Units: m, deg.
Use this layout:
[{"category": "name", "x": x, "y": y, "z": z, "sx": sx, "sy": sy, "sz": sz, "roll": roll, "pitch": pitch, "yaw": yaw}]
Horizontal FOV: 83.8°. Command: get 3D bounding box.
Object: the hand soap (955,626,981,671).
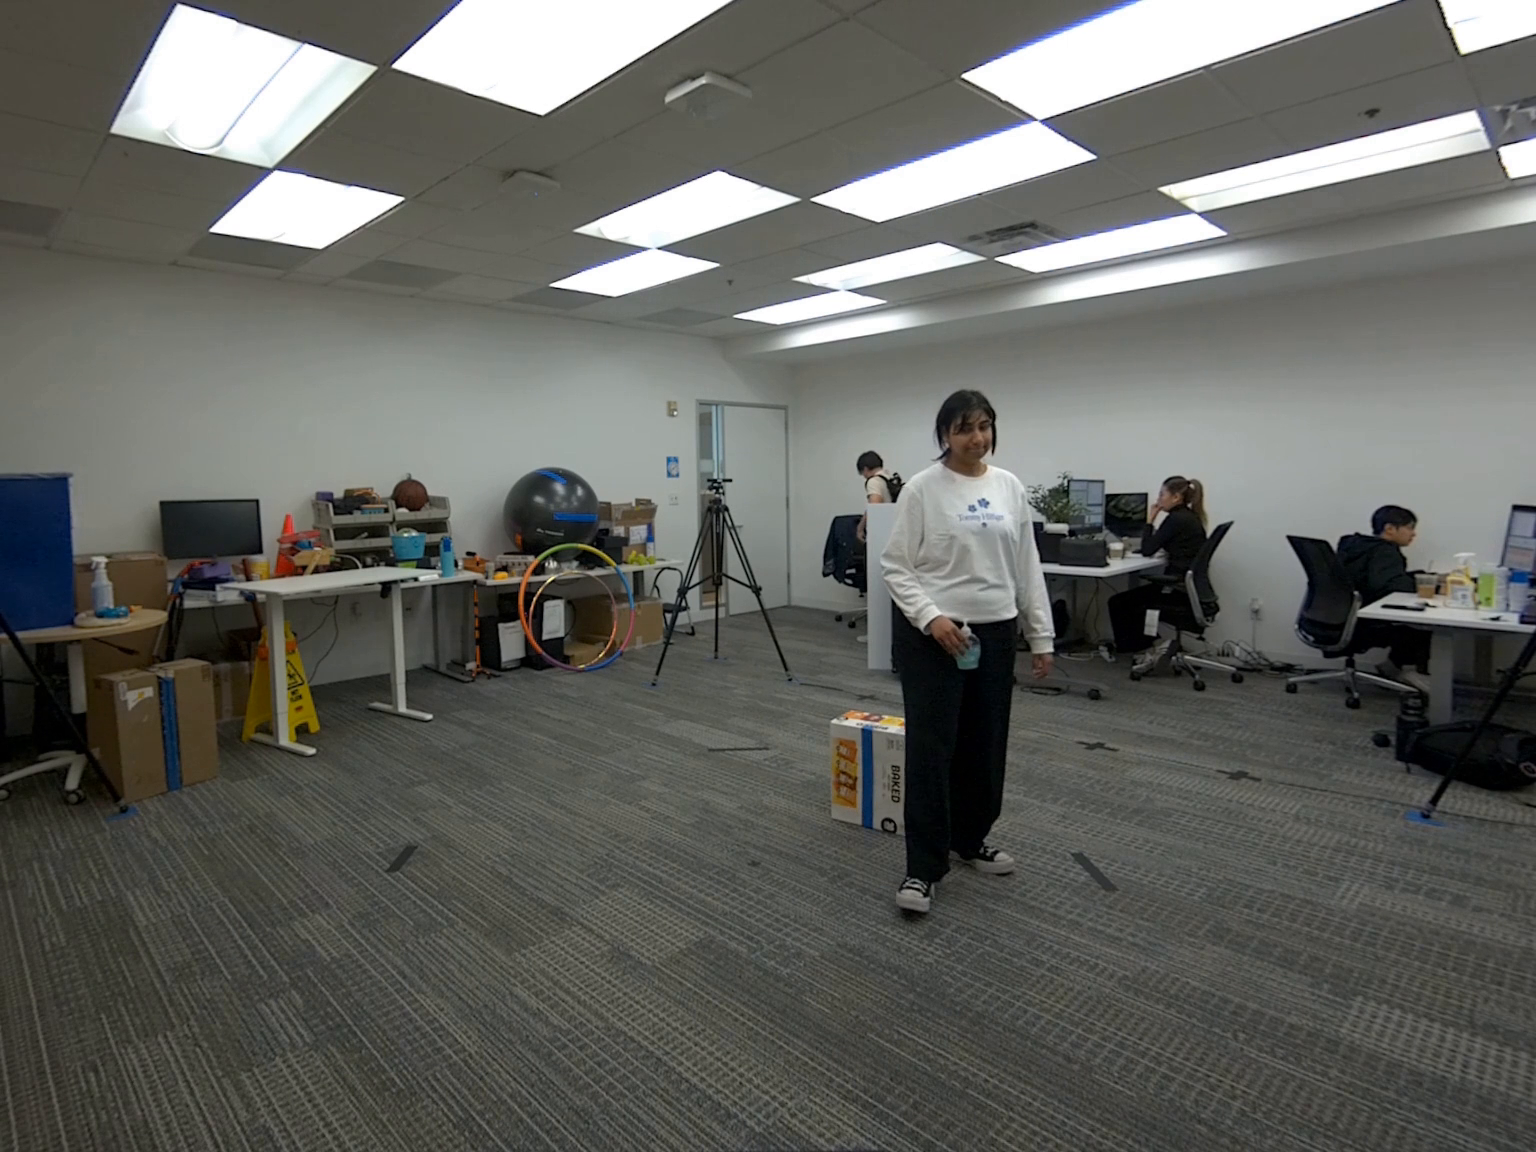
[{"category": "hand soap", "x": 0.632, "y": 0.218, "z": 2.762, "sx": 0.084, "sy": 0.167, "sz": 0.044, "roll": -4, "pitch": 7, "yaw": 0}]
